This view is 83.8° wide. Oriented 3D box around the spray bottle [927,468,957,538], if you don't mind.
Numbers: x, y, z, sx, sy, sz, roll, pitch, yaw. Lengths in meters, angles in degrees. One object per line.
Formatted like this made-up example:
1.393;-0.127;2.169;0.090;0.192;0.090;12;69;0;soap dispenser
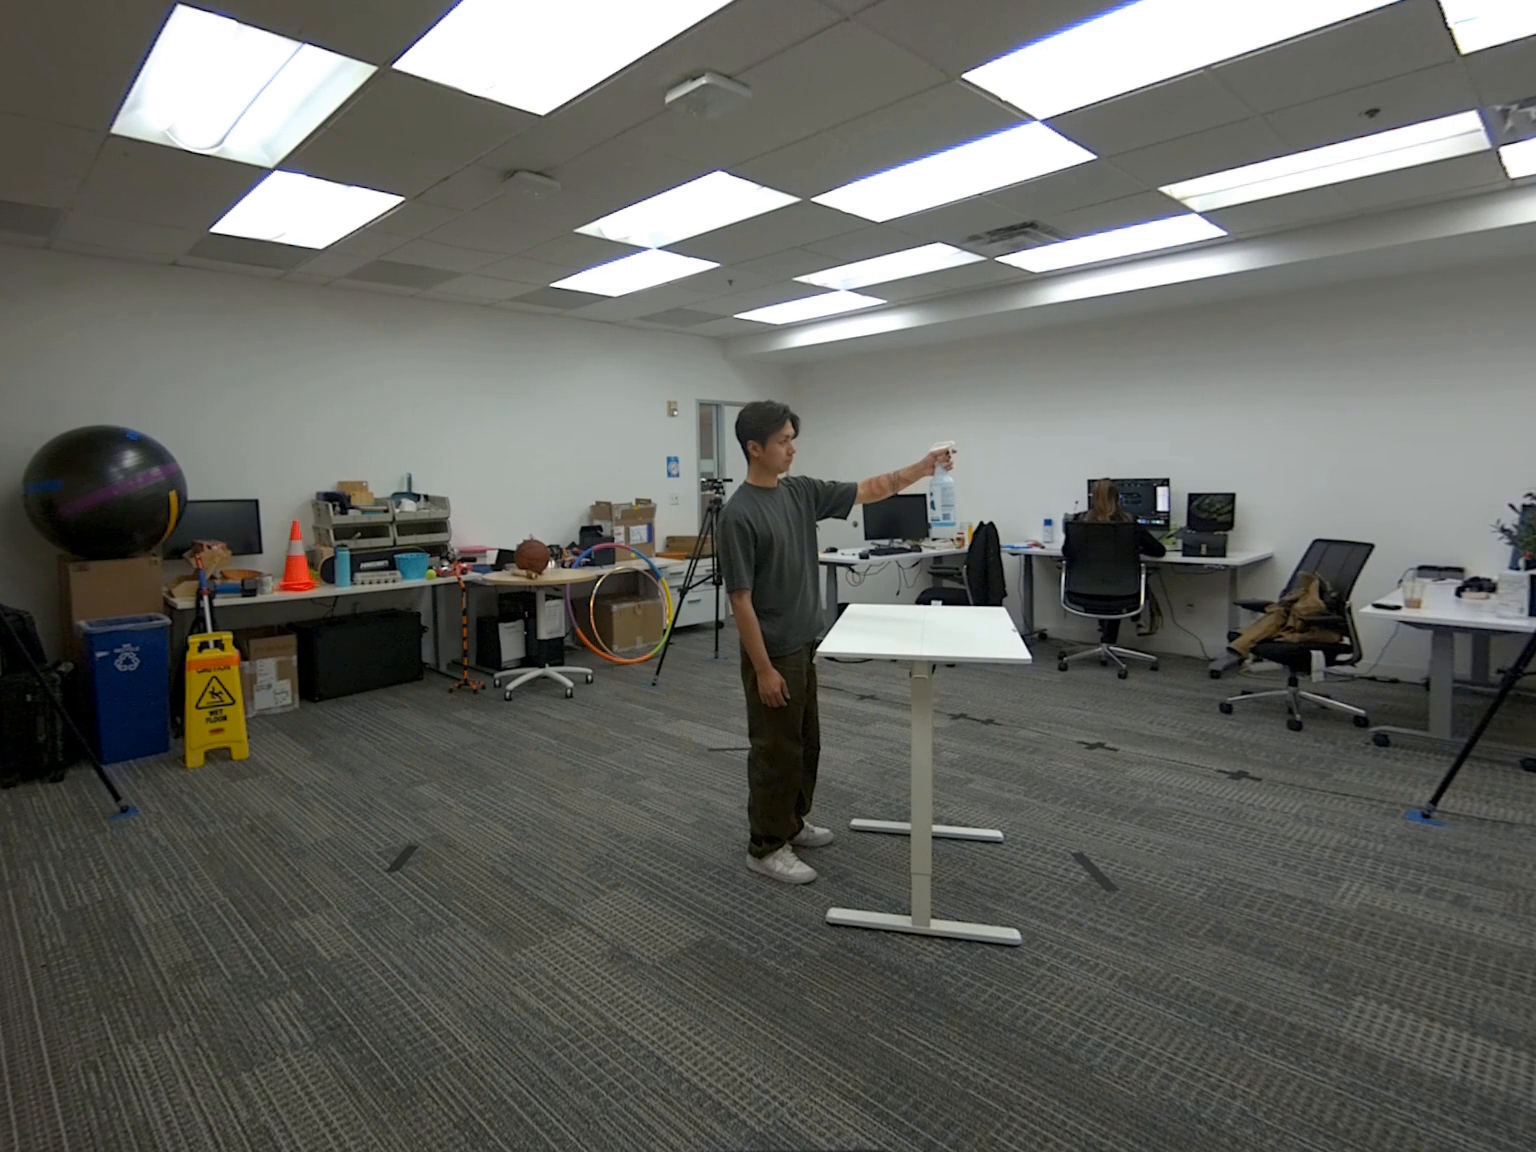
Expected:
0.616;-0.316;2.995;0.085;0.296;0.092;-5;4;-31;spray bottle
